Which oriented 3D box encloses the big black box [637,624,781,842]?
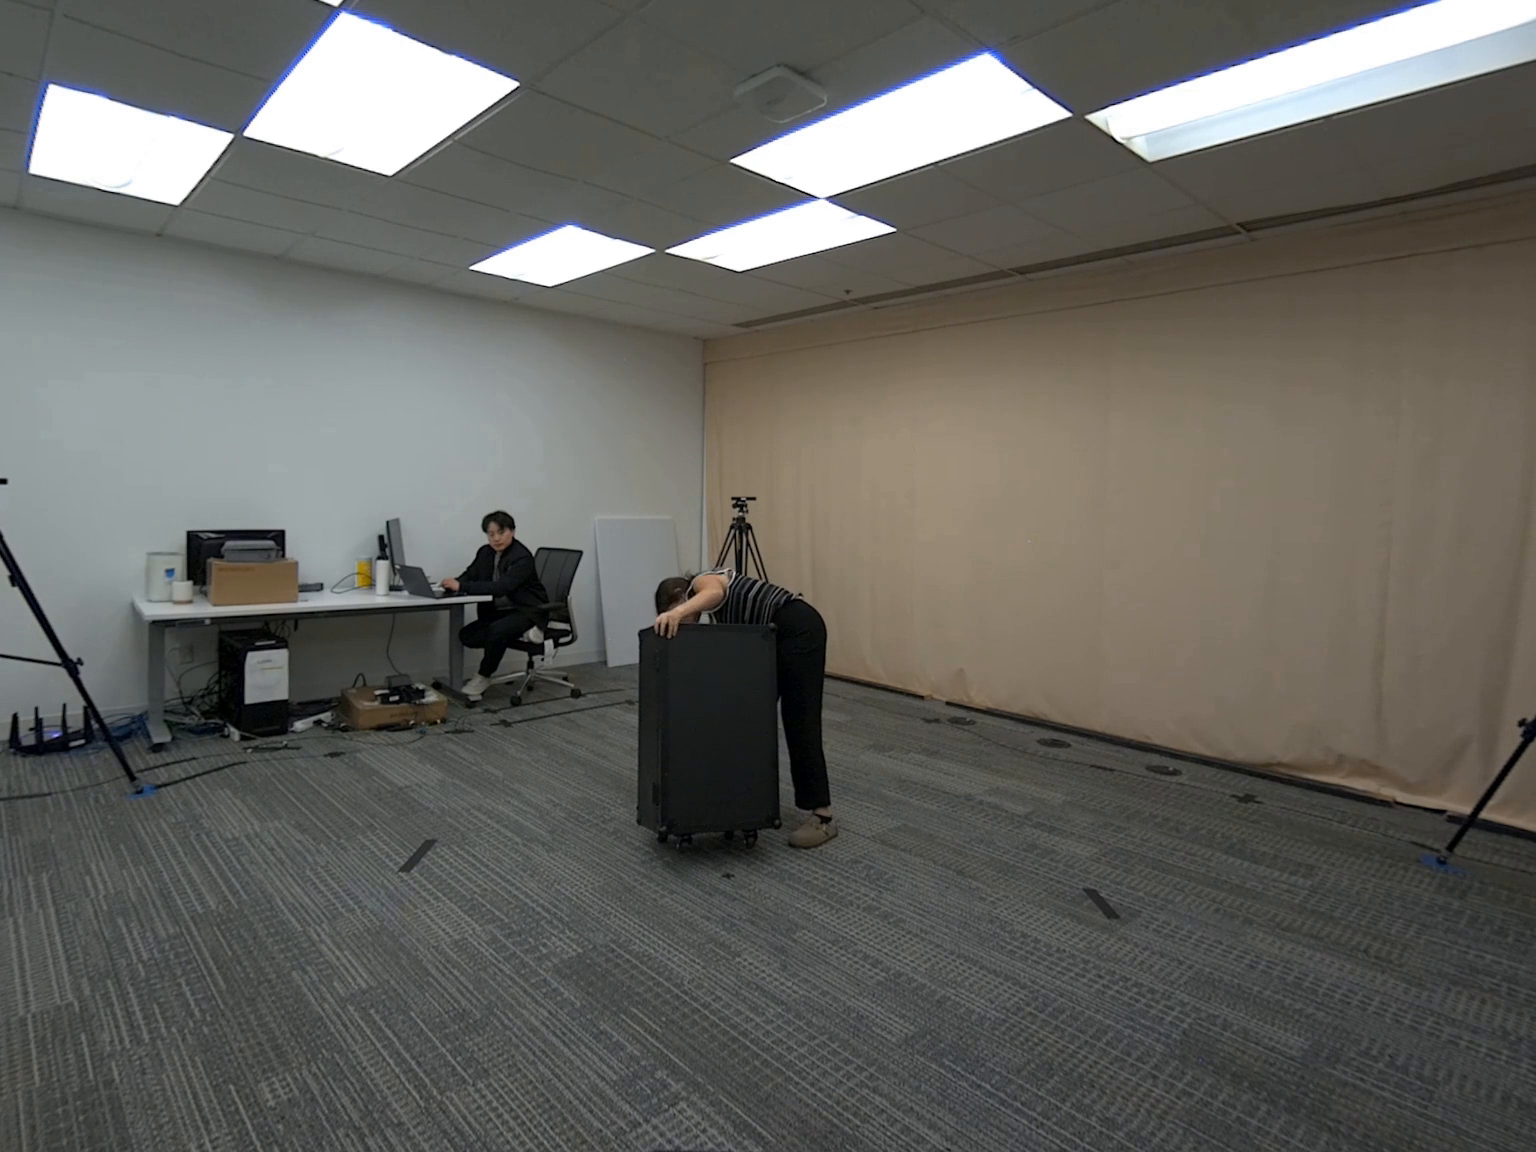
[{"bbox_3d":[-0.261,0.636,3.388,0.513,0.869,0.399,3,-13,-20],"label":"big black box"}]
